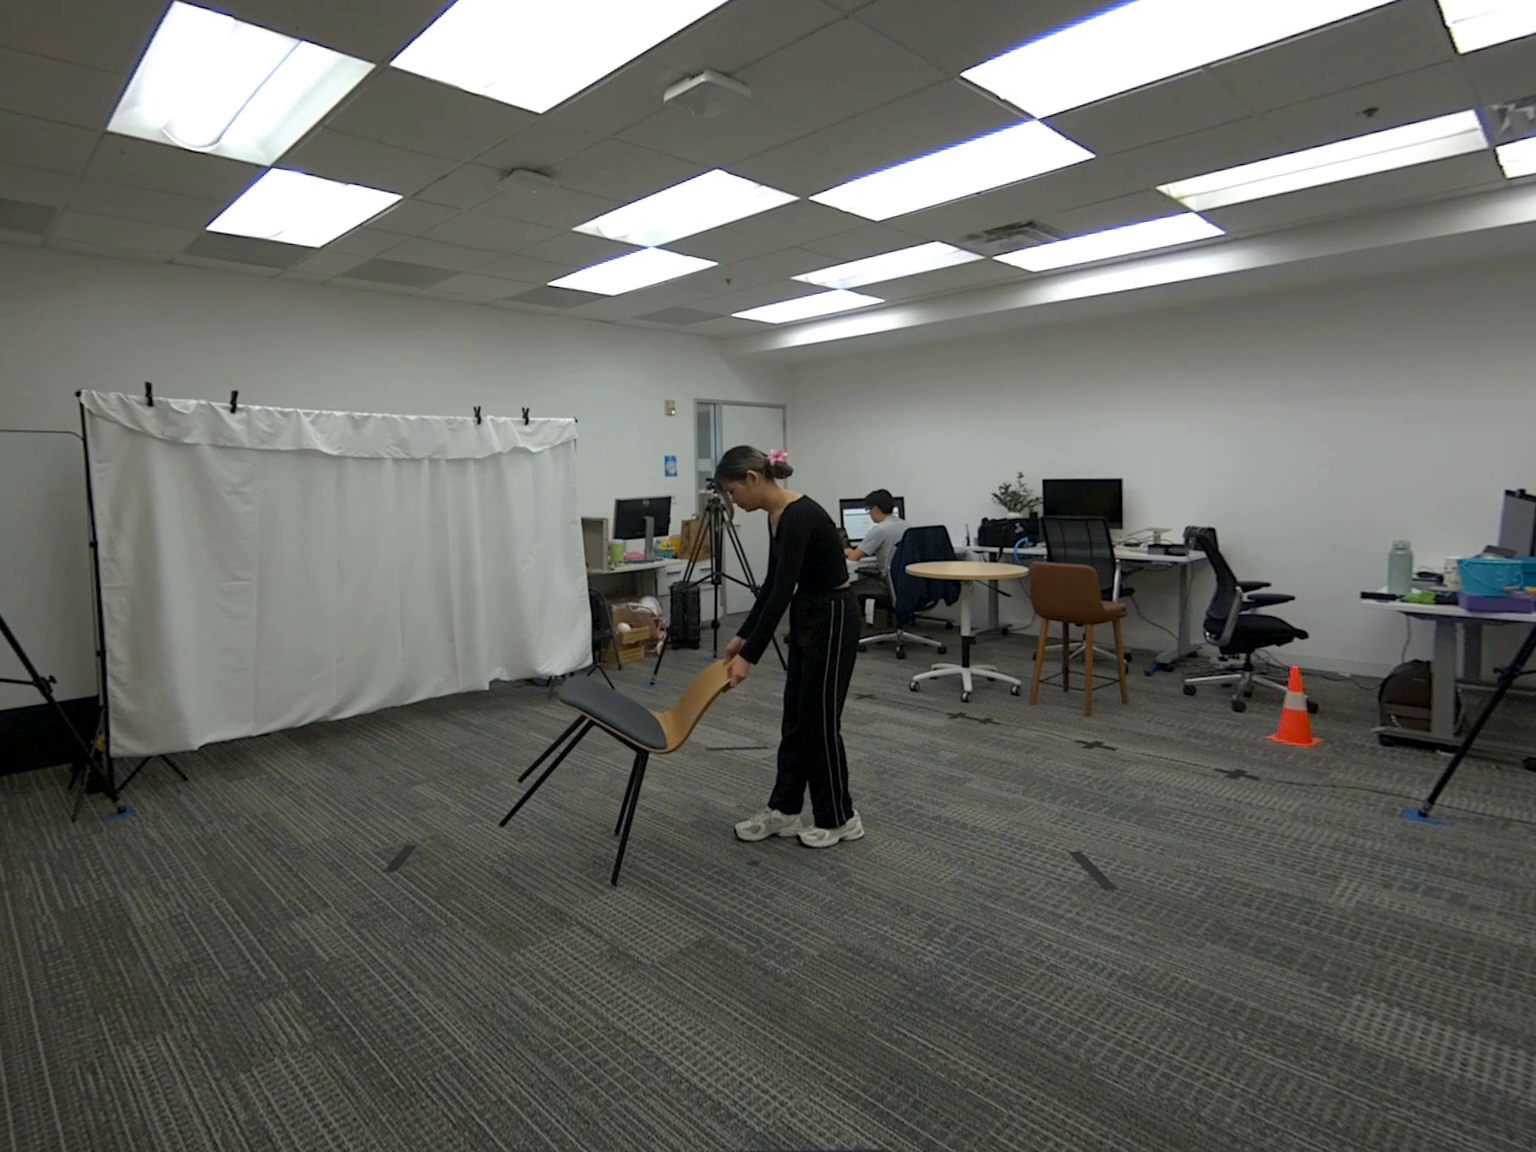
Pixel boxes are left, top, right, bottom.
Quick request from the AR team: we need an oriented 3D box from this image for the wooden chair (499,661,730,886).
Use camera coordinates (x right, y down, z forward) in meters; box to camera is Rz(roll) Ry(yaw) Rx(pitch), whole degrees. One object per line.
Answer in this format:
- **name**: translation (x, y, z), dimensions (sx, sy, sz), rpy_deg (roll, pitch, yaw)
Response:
- **wooden chair**: translation (-0.537, 0.556, 3.130), dimensions (0.518, 0.877, 0.483), rpy_deg (35, 0, -8)
